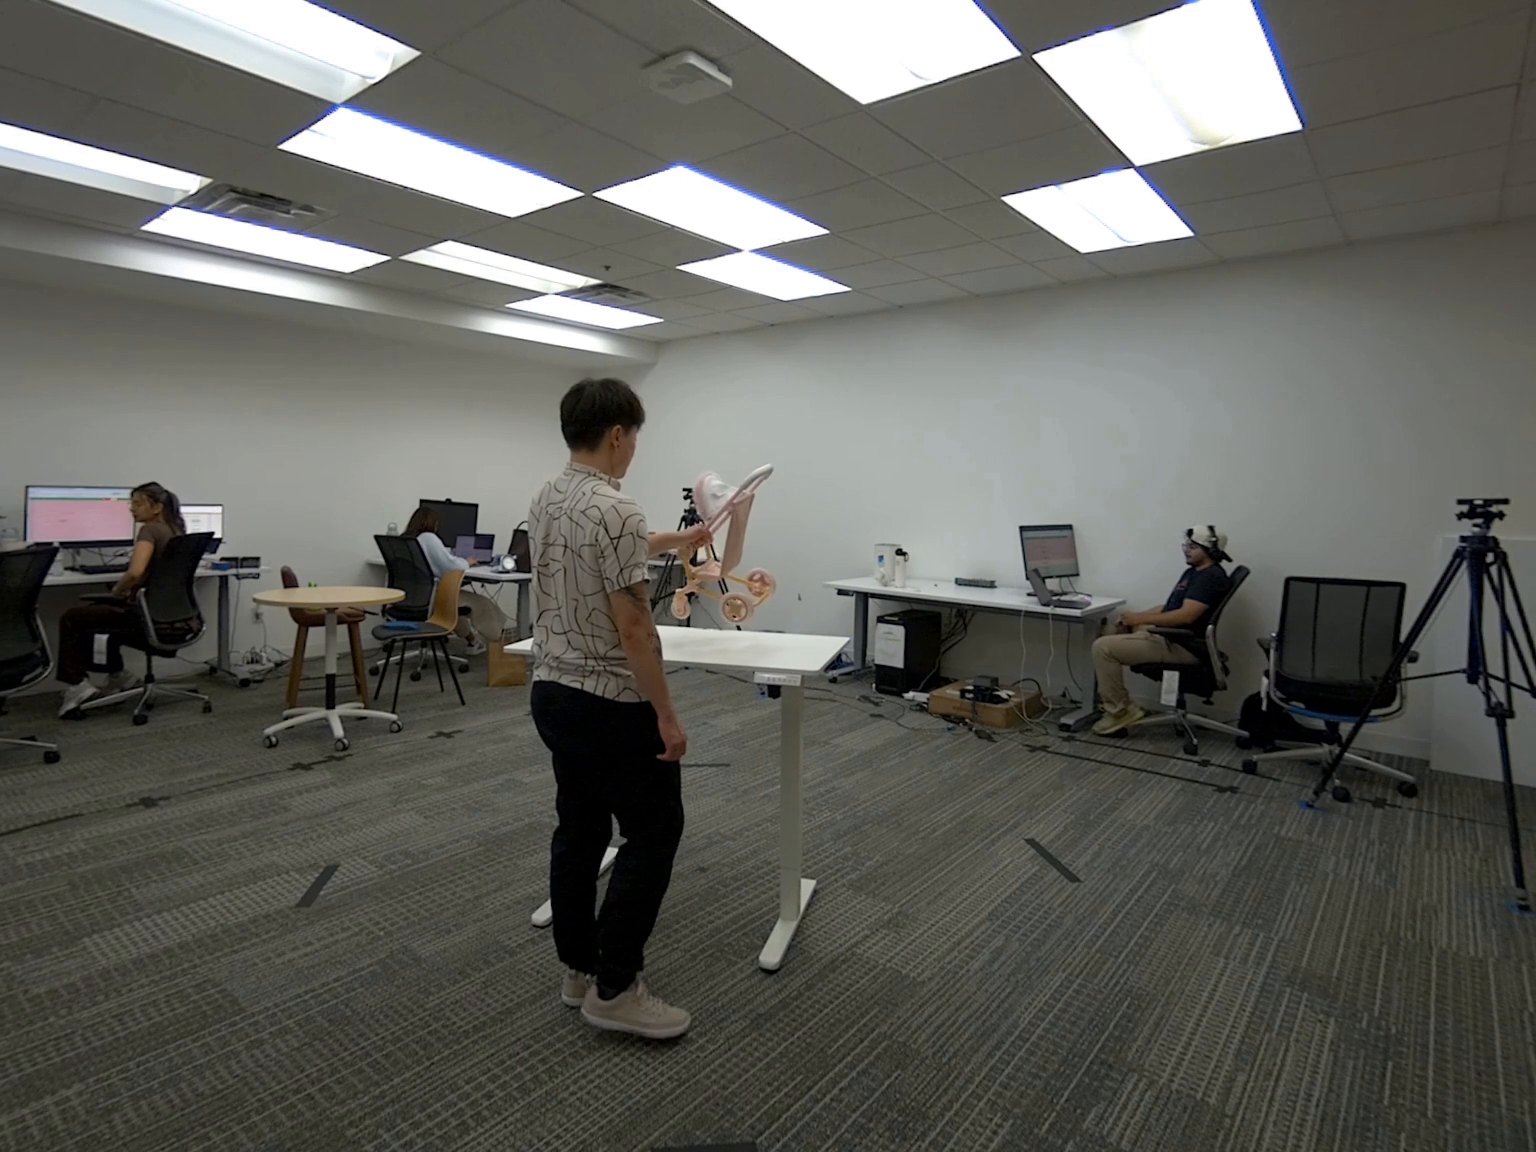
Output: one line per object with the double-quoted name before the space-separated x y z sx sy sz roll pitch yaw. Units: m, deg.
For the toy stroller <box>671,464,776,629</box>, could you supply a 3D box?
"toy stroller" -0.169 -0.100 2.747 0.350 0.527 0.278 6 17 23
